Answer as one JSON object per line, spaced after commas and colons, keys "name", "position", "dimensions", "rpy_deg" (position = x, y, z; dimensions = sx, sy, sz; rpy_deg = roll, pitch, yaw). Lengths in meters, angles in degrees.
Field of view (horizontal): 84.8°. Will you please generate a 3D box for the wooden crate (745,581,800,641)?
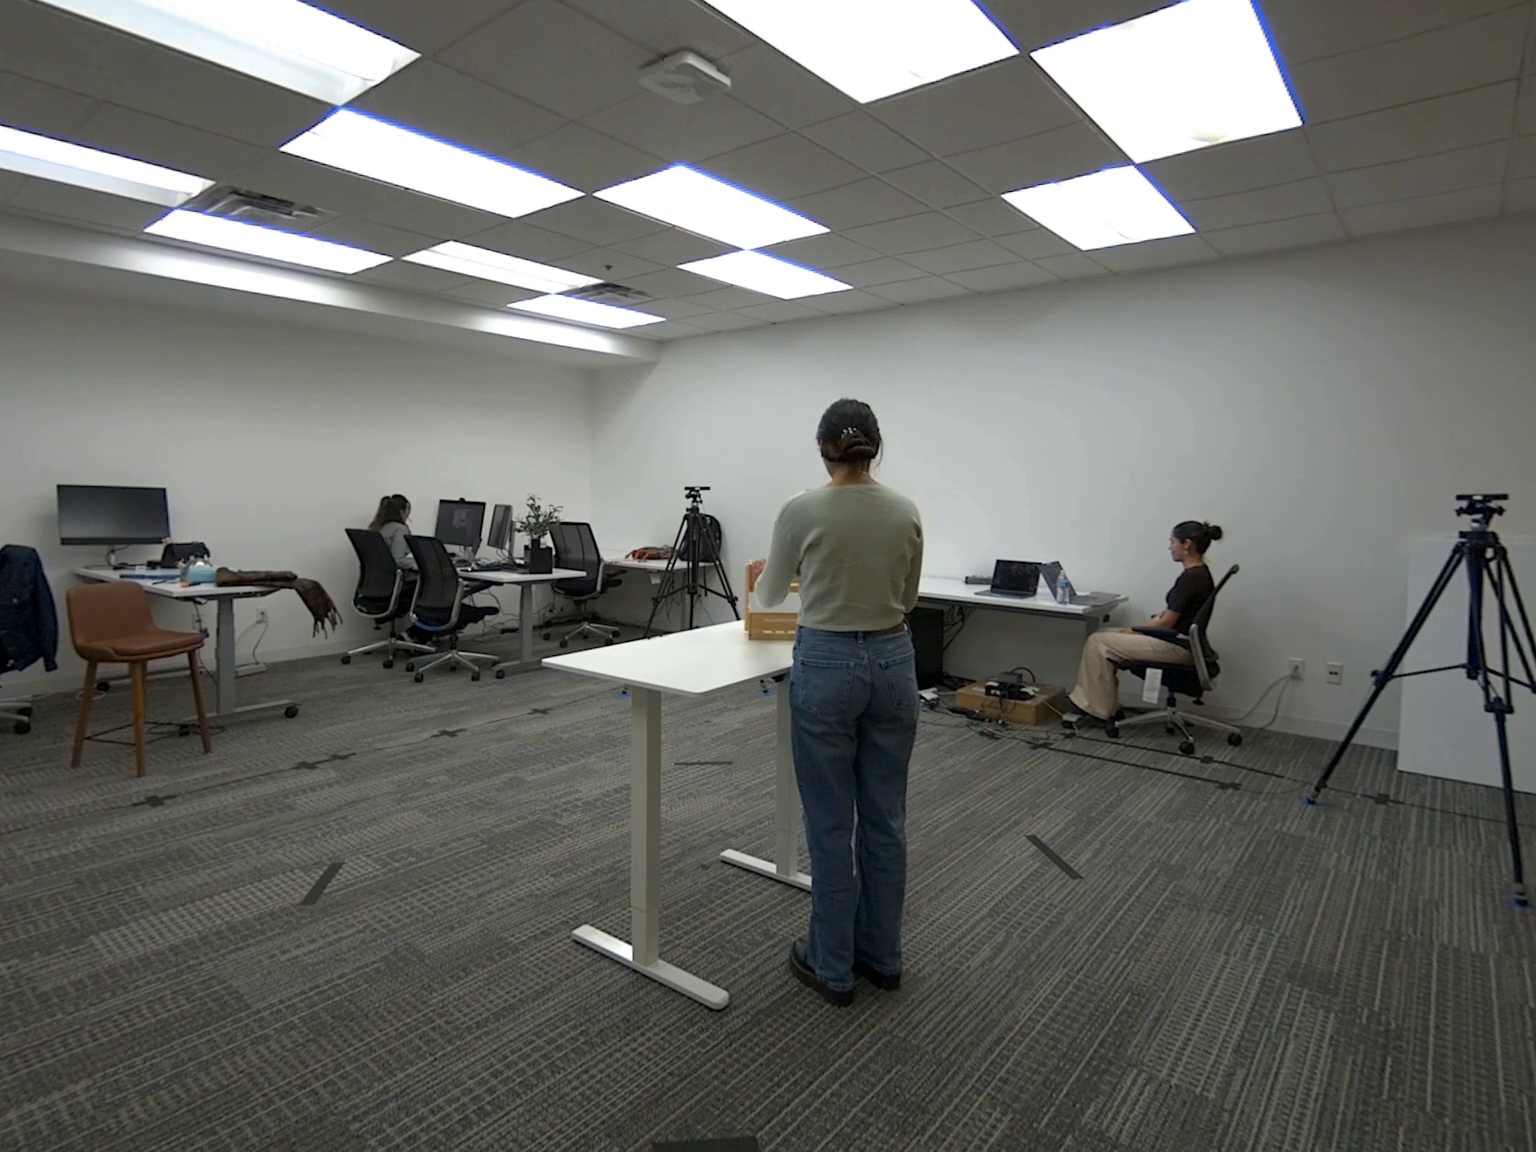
{"name": "wooden crate", "position": [0.072, 0.069, 2.925], "dimensions": [0.325, 0.272, 0.303], "rpy_deg": [0, 5, 1]}
